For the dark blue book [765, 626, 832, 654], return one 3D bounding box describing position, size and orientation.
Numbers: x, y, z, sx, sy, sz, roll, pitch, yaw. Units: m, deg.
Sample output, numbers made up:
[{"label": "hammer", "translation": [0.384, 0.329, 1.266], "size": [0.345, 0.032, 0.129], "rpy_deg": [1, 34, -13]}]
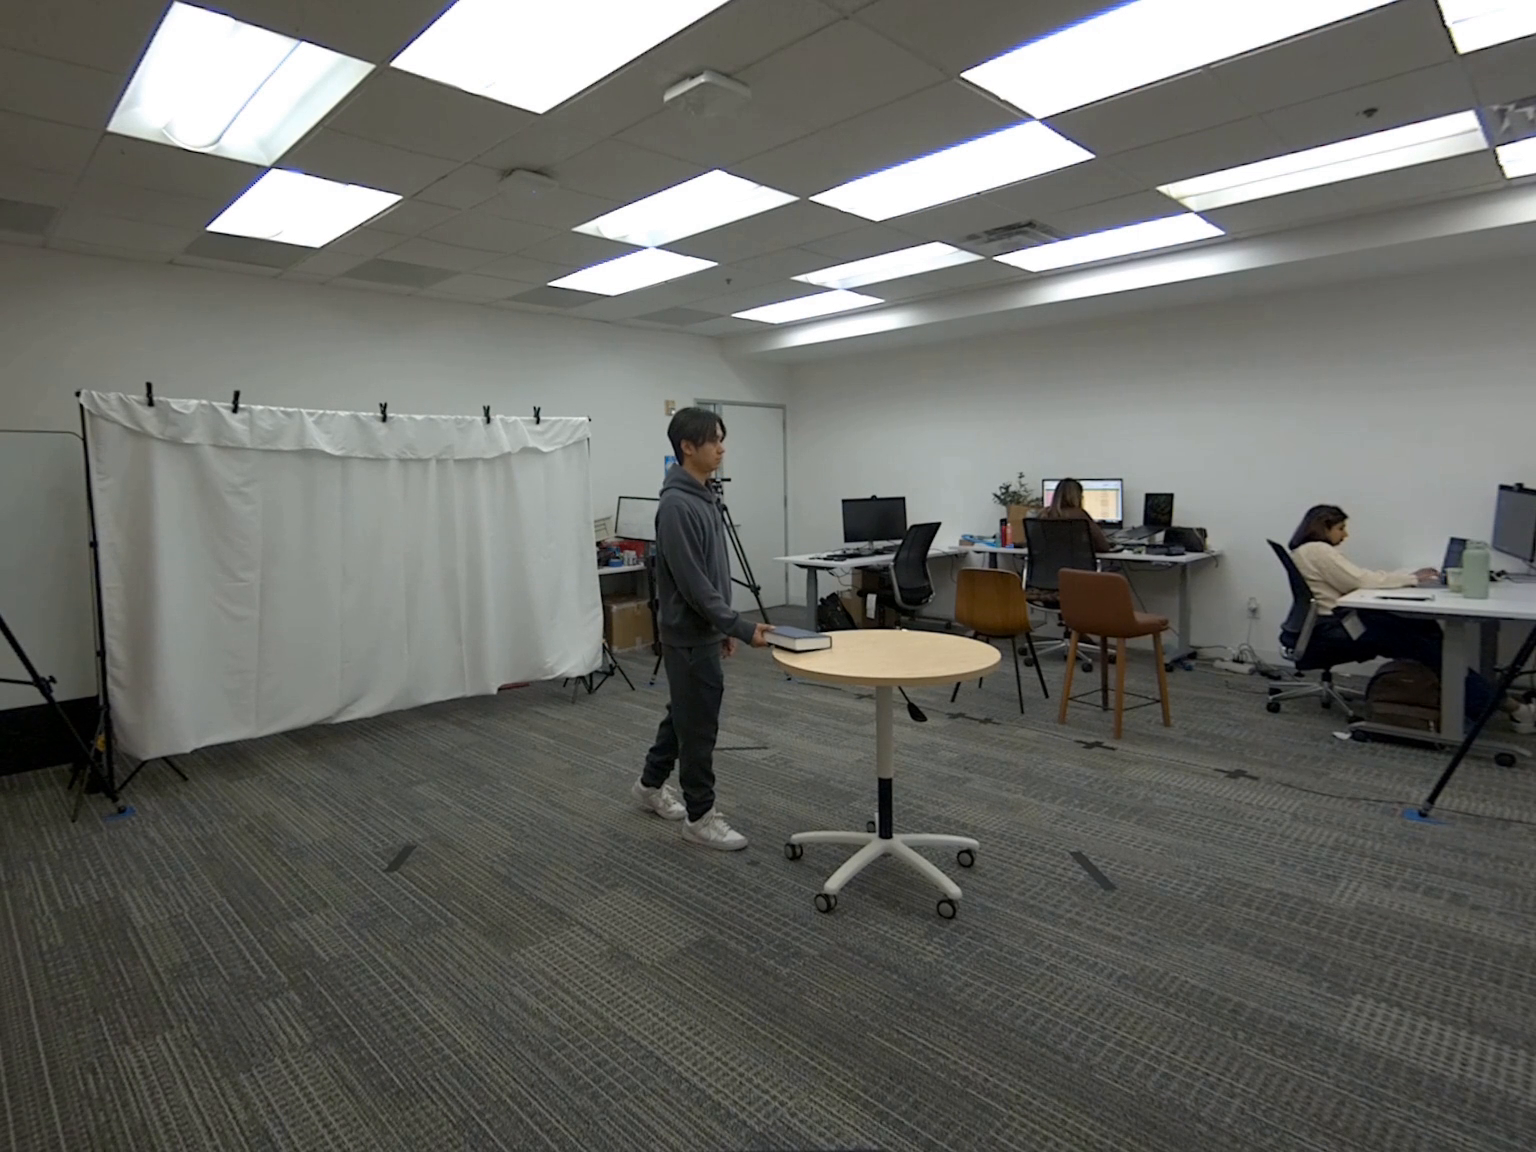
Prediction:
[{"label": "dark blue book", "translation": [0.090, 0.222, 3.051], "size": [0.159, 0.045, 0.252], "rpy_deg": [-1, 6, -33]}]
